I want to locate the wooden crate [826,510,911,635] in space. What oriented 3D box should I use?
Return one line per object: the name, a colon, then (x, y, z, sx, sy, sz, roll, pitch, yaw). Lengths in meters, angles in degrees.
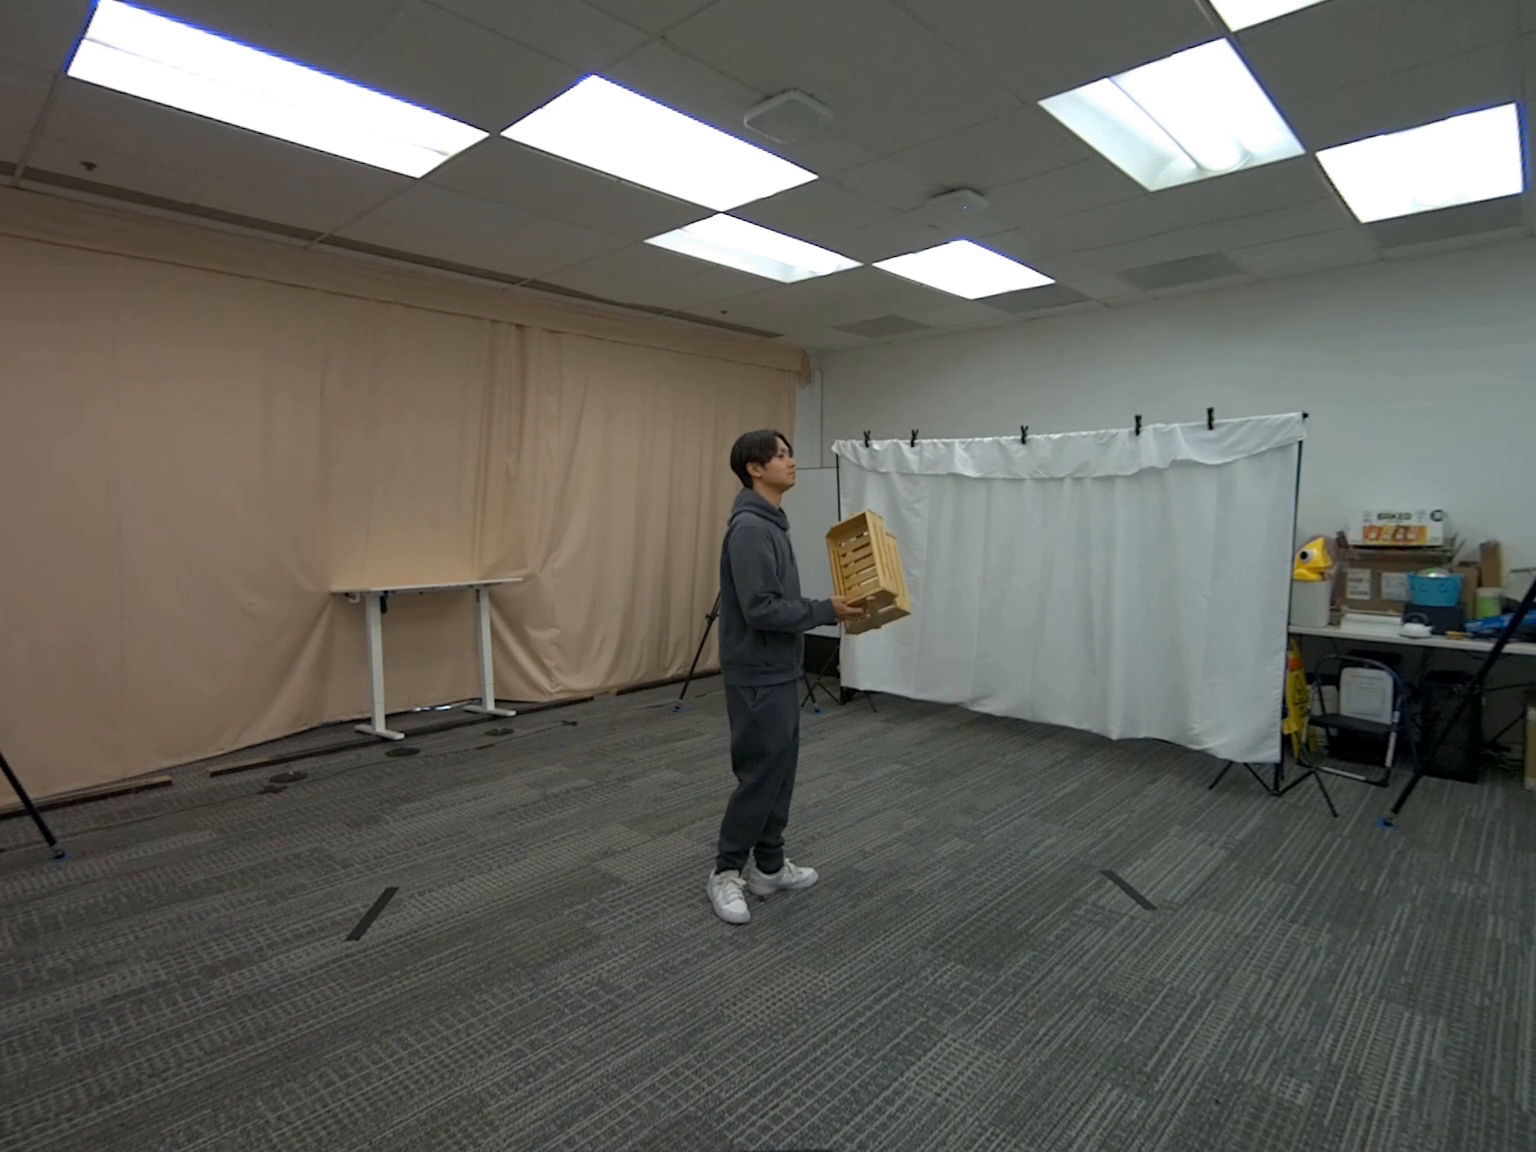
wooden crate: (0.322, -0.005, 2.927, 0.307, 0.330, 0.263, -27, -33, 33)
